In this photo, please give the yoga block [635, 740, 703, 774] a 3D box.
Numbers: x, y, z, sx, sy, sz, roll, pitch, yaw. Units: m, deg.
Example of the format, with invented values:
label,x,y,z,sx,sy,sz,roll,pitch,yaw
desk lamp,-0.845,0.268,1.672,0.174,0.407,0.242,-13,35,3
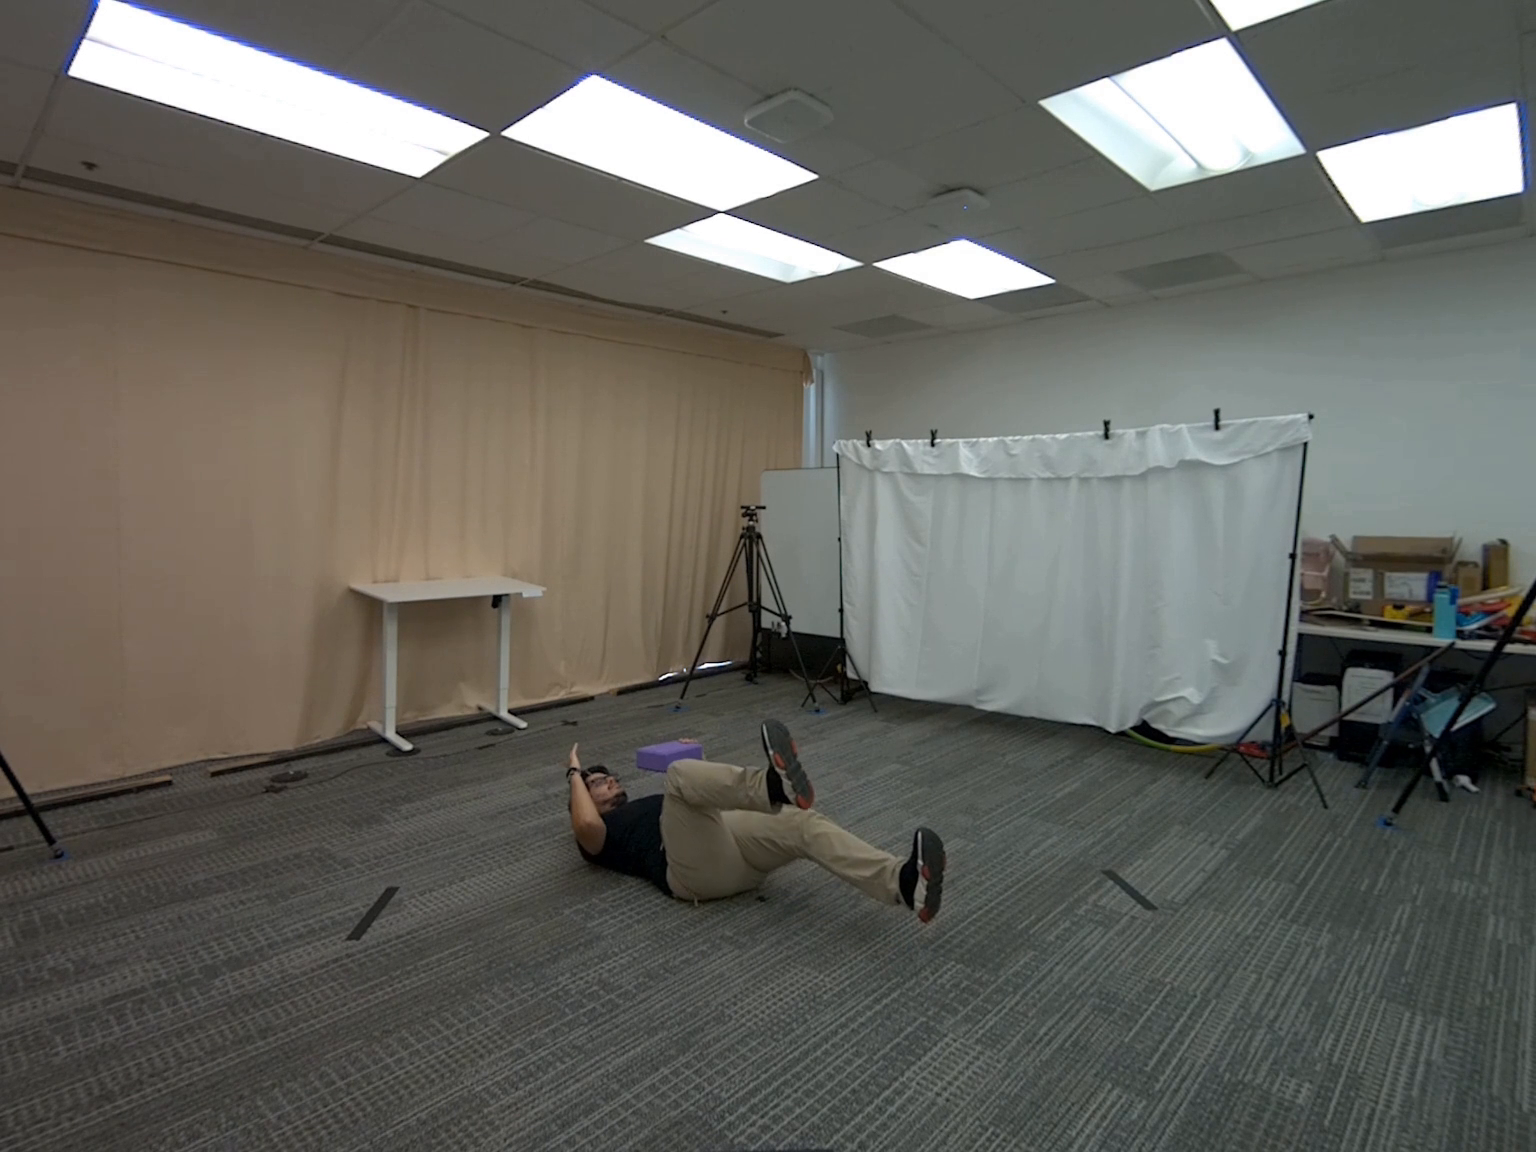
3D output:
label,x,y,z,sx,sy,sz,roll,pitch,yaw
yoga block,-0.379,0.691,3.212,0.153,0.076,0.222,0,-1,35
